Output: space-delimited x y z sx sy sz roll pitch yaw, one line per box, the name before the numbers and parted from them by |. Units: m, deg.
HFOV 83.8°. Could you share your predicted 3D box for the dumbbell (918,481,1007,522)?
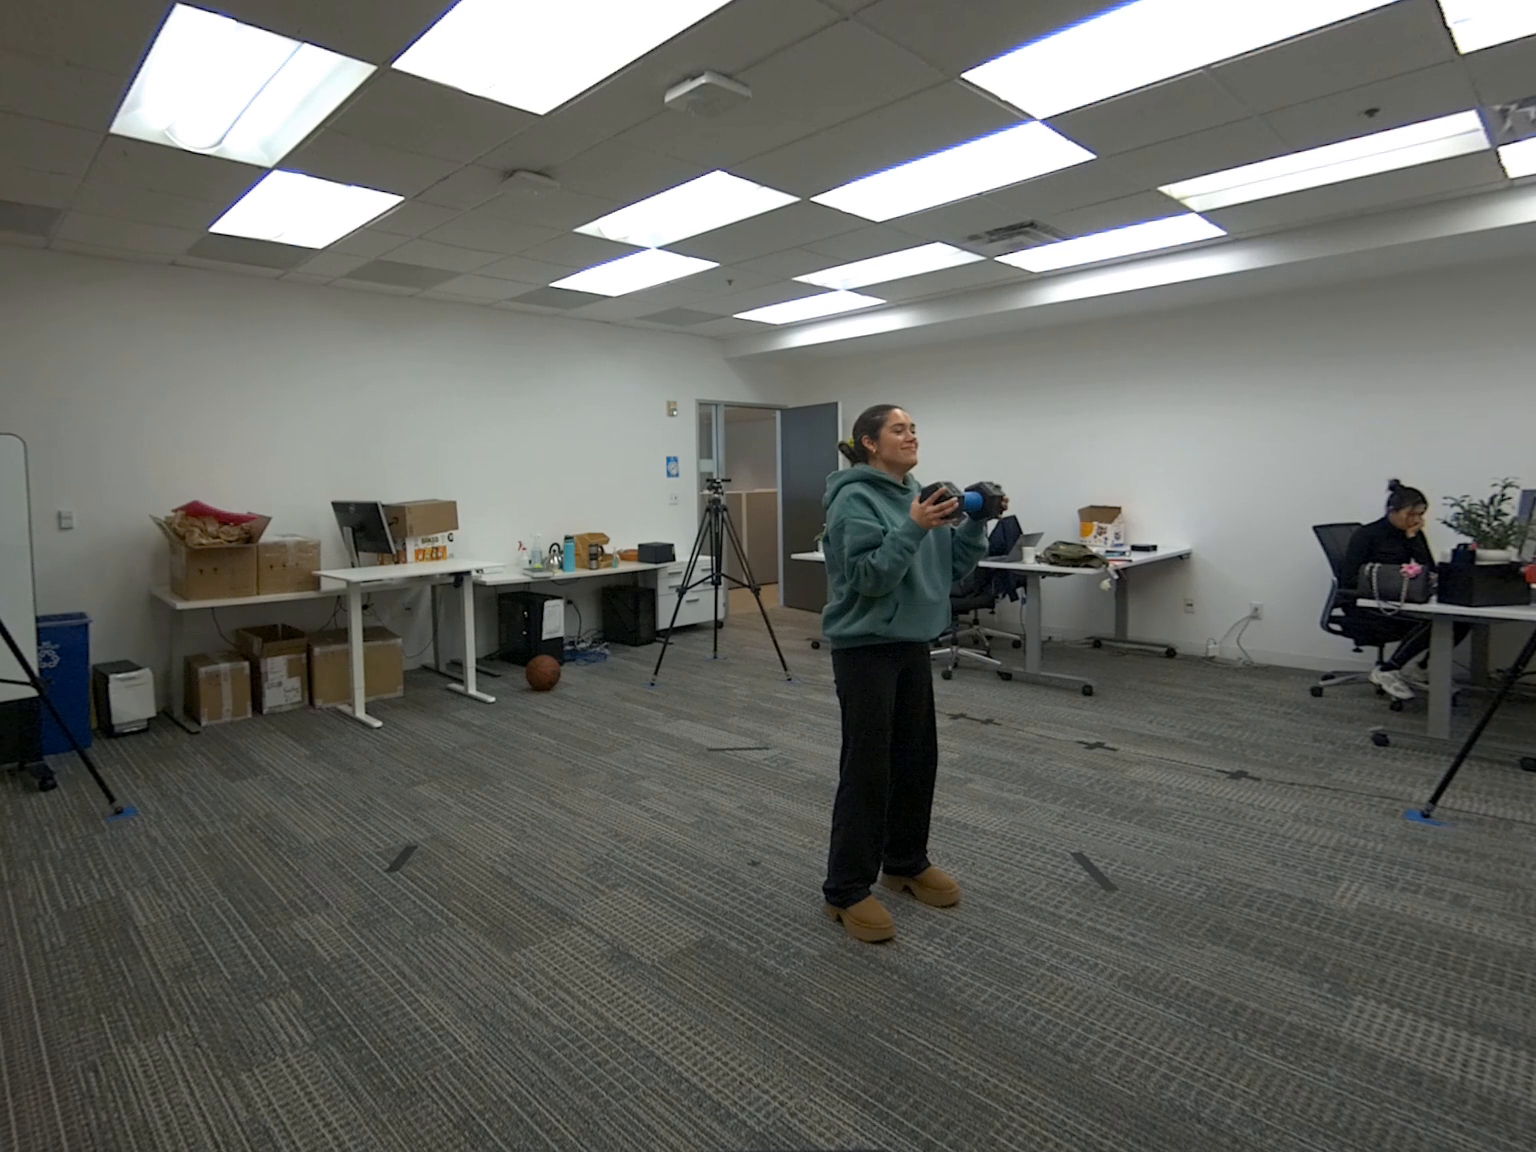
dumbbell | 0.561 -0.208 2.495 0.285 0.110 0.125 -4 -10 -43
